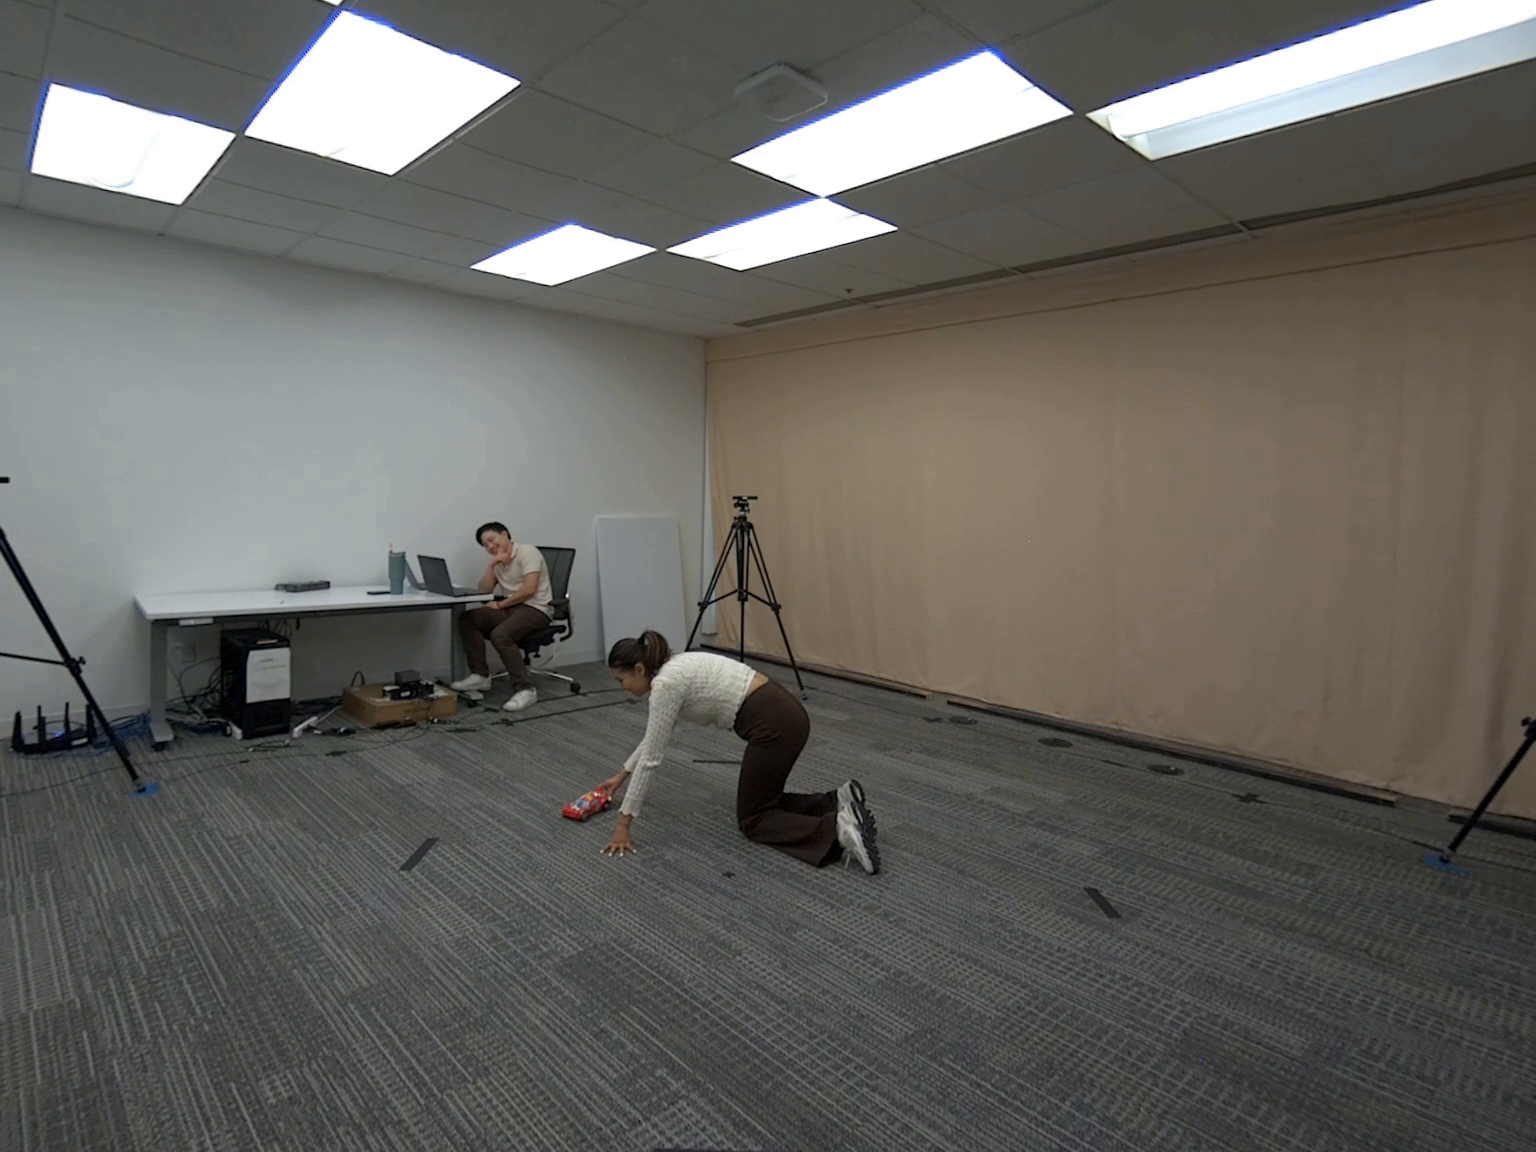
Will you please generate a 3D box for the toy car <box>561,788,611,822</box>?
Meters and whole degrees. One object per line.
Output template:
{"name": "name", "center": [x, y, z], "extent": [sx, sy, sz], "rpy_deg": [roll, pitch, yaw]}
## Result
{"name": "toy car", "center": [-0.784, 1.000, 3.684], "extent": [0.133, 0.082, 0.251], "rpy_deg": [2, 15, 30]}
